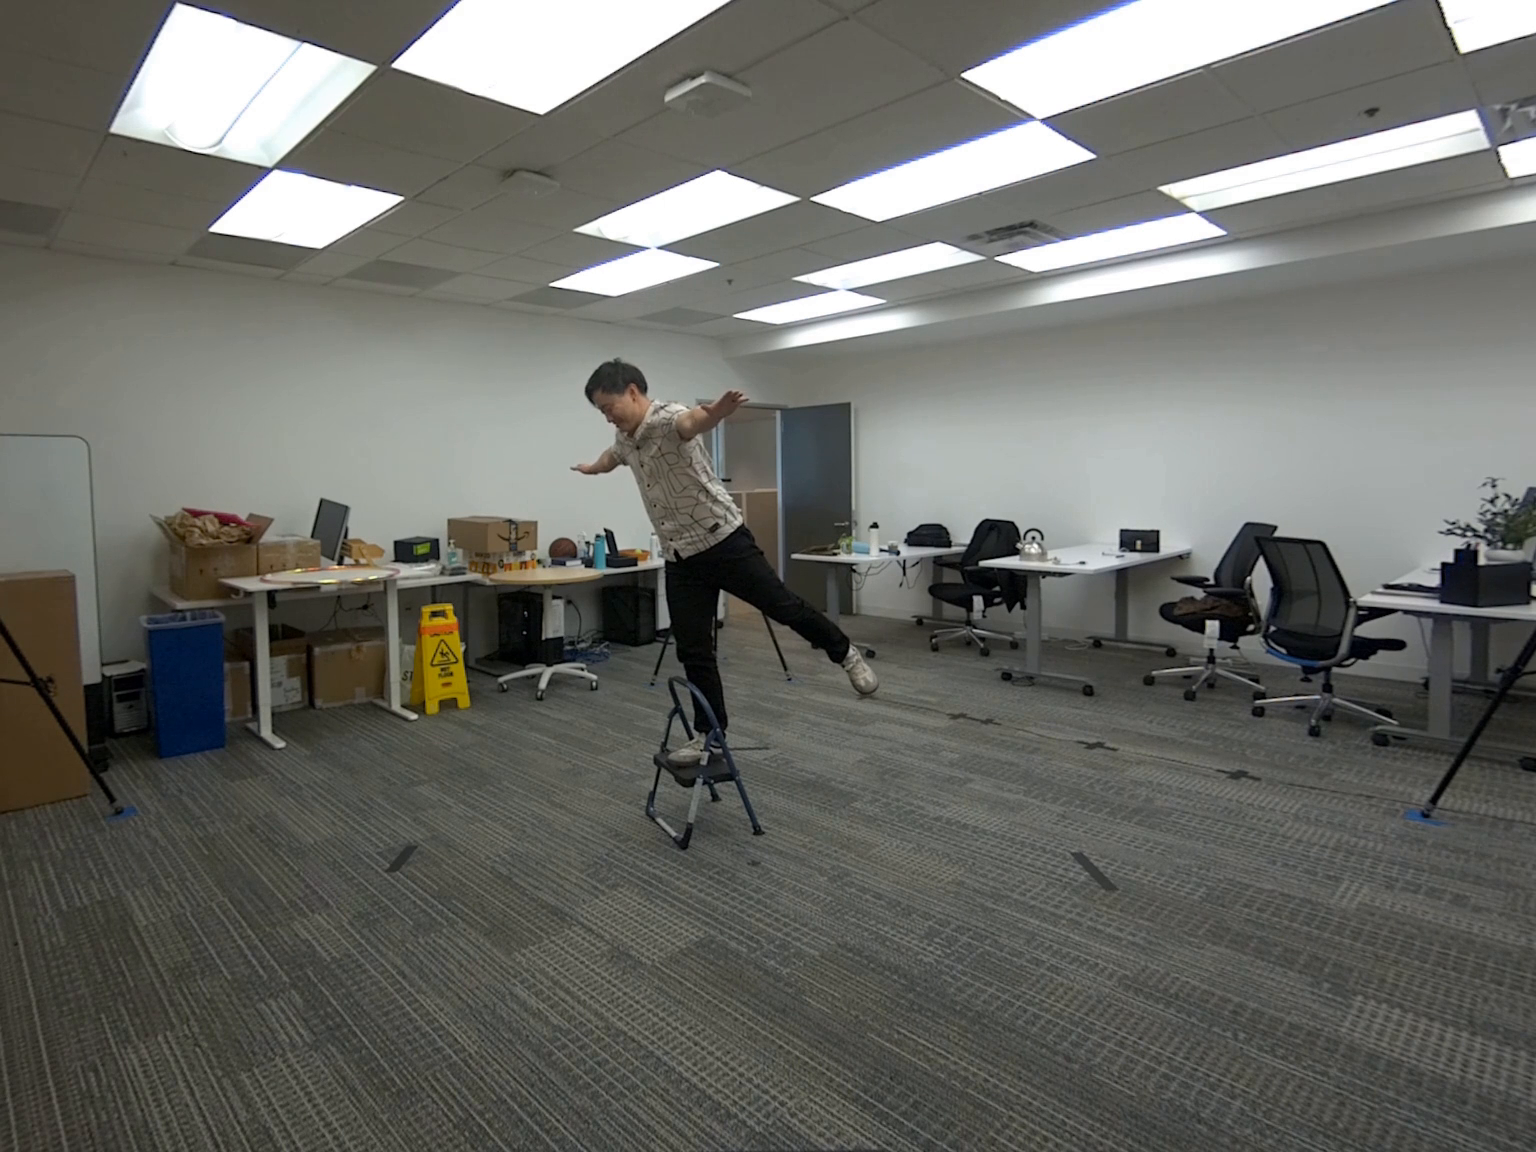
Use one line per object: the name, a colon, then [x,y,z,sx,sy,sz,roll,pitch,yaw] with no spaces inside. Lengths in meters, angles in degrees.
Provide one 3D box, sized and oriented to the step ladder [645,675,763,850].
step ladder: [-0.271,0.705,3.462,0.341,0.604,0.442,-3,4,-28]
